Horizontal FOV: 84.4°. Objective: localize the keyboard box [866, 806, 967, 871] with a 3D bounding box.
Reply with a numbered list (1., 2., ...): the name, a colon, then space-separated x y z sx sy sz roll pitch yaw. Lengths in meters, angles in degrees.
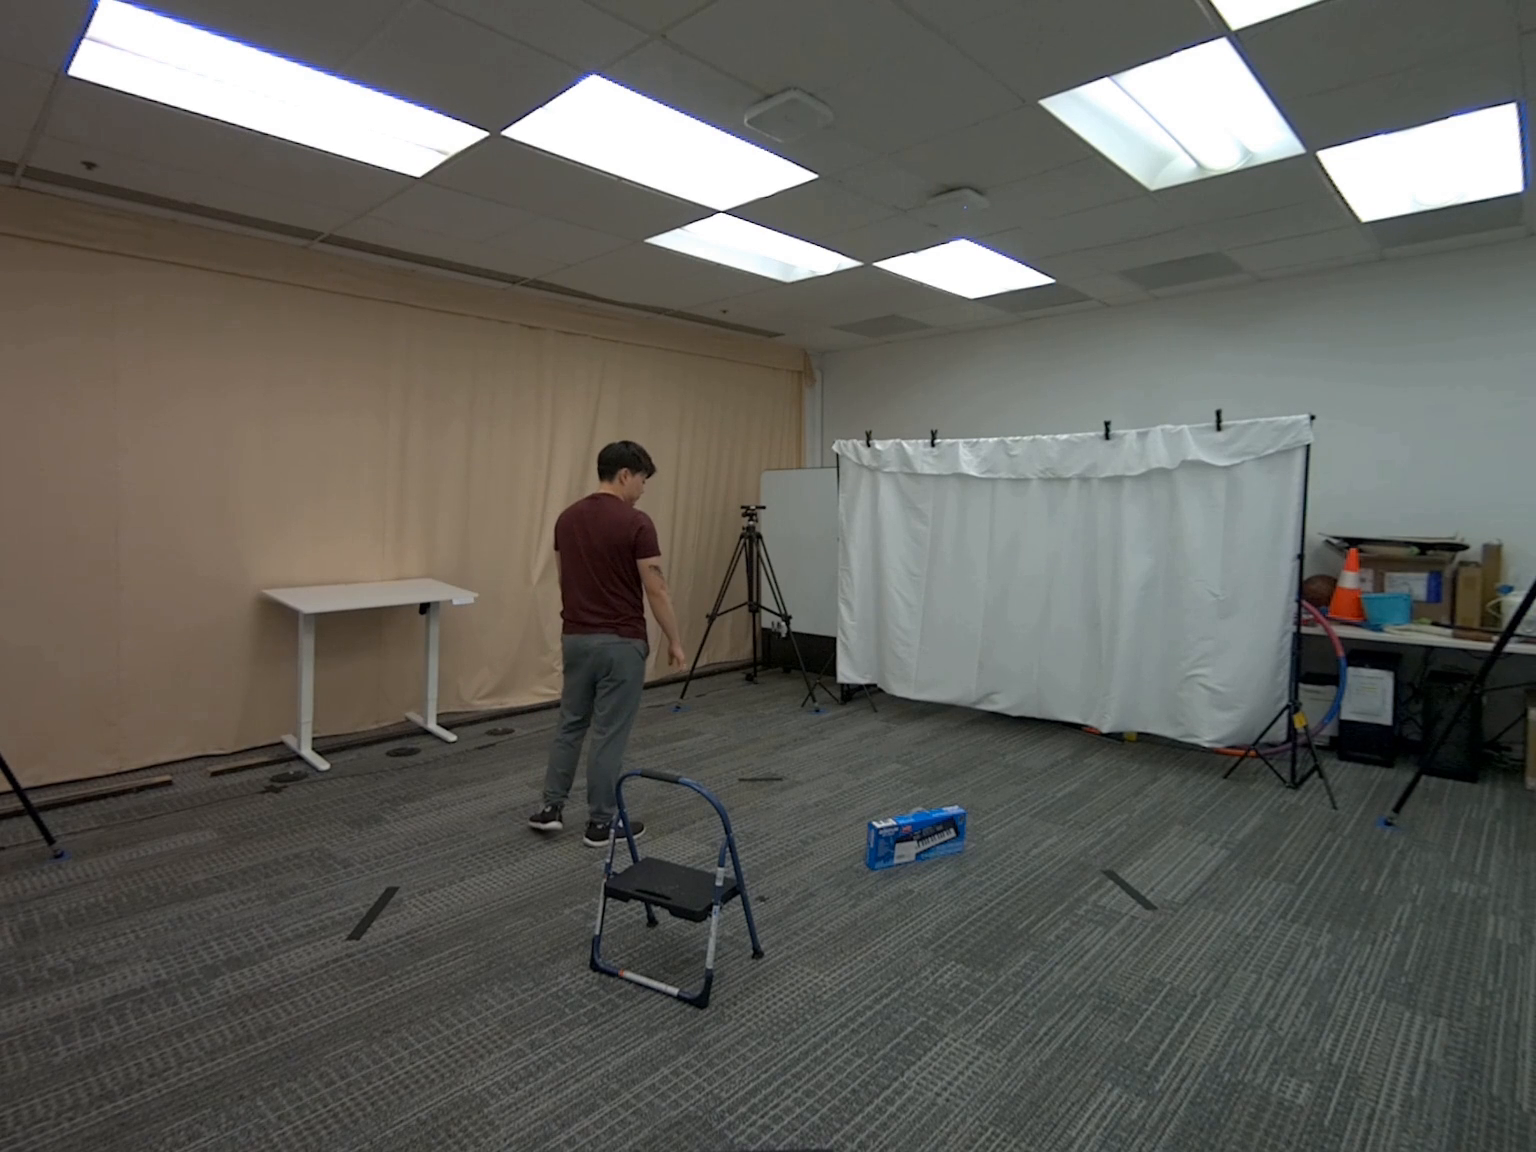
1. keyboard box: 0.584 1.028 3.310 0.426 0.175 0.061 -2 10 -25
